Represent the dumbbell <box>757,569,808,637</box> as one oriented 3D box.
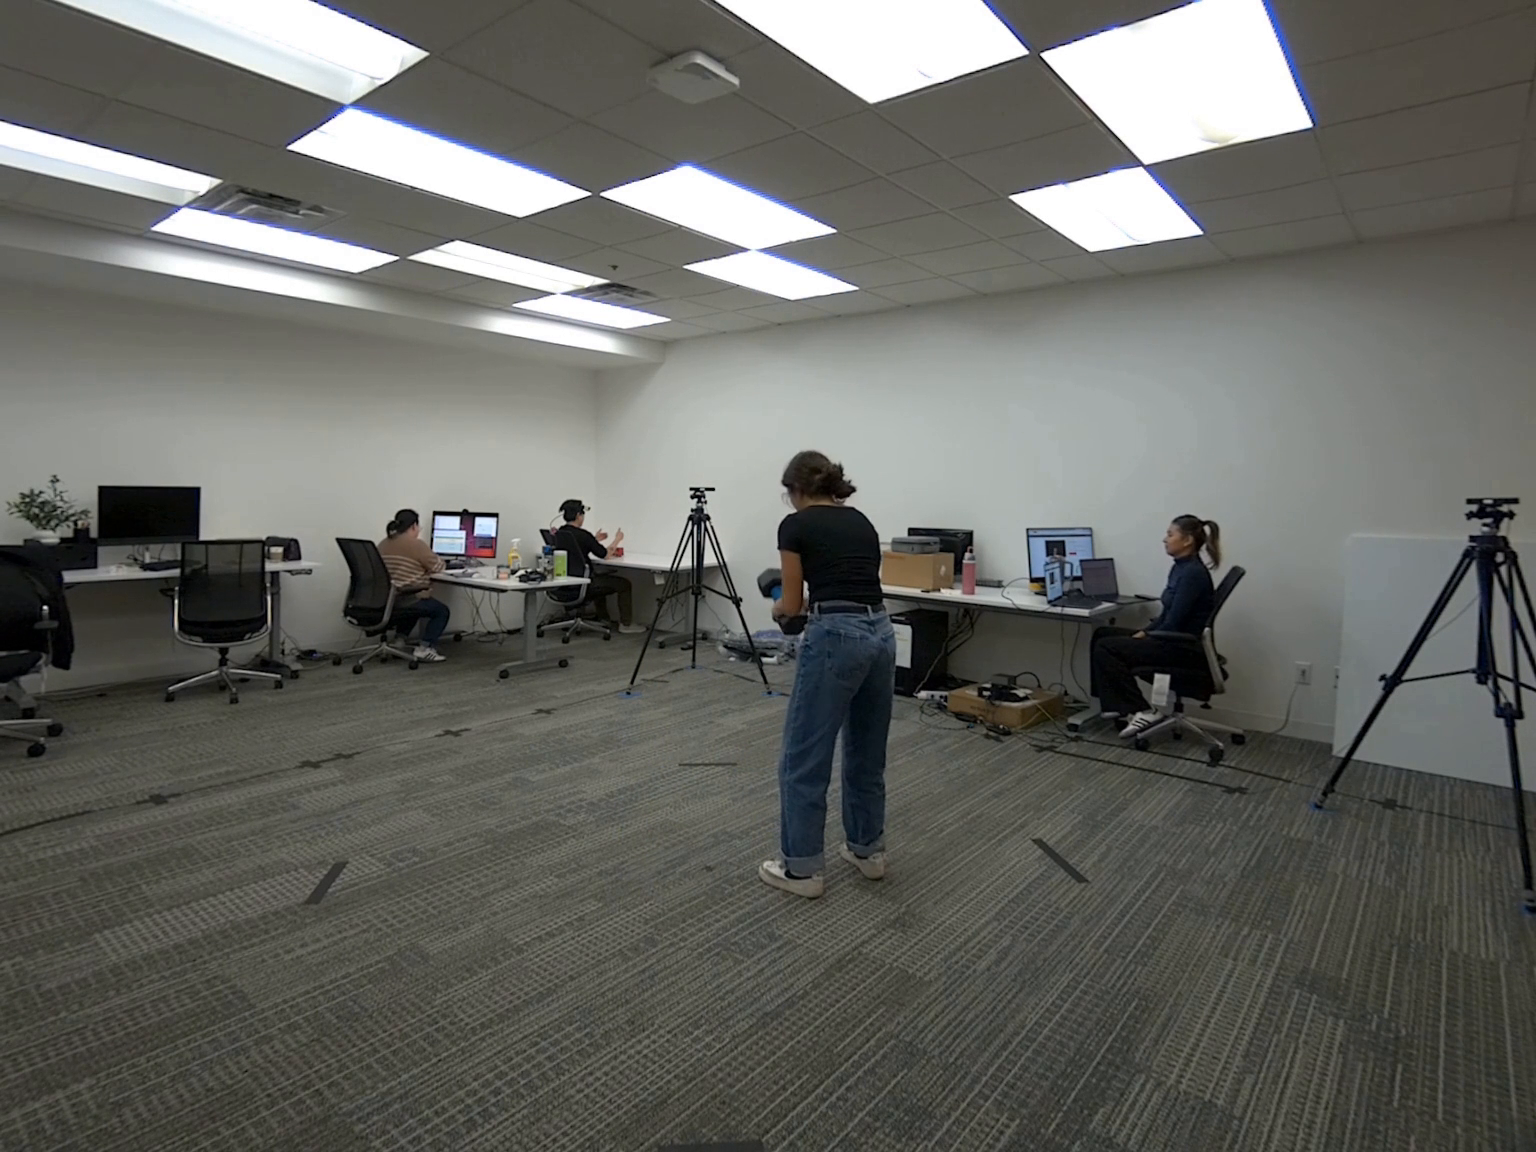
[{"bbox_3d":[0.053,0.096,3.308,0.104,0.123,0.306,36,16,-45],"label":"dumbbell"}]
